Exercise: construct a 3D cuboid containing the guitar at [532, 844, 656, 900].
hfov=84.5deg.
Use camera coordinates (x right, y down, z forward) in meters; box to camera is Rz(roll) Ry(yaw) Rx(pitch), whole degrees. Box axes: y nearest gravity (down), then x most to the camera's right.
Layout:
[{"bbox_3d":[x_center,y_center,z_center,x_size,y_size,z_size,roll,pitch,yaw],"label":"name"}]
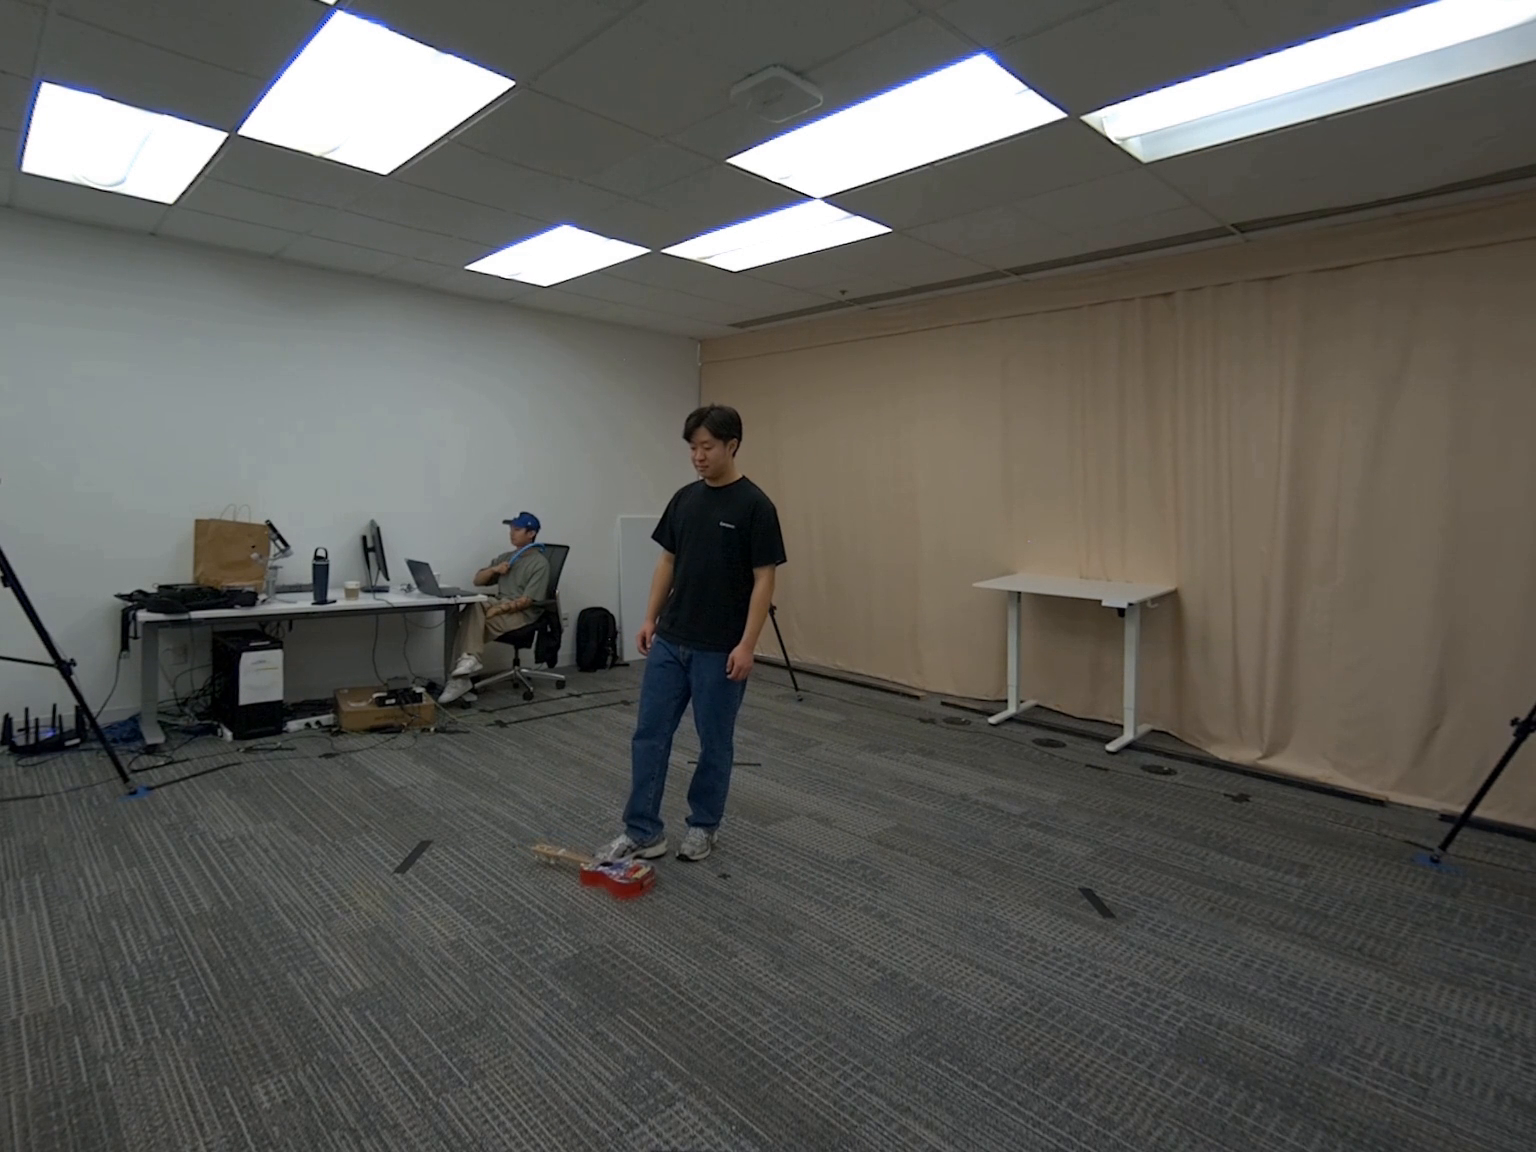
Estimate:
[{"bbox_3d":[-0.648,1.062,3.102,0.509,0.070,0.189,5,6,31],"label":"guitar"}]
